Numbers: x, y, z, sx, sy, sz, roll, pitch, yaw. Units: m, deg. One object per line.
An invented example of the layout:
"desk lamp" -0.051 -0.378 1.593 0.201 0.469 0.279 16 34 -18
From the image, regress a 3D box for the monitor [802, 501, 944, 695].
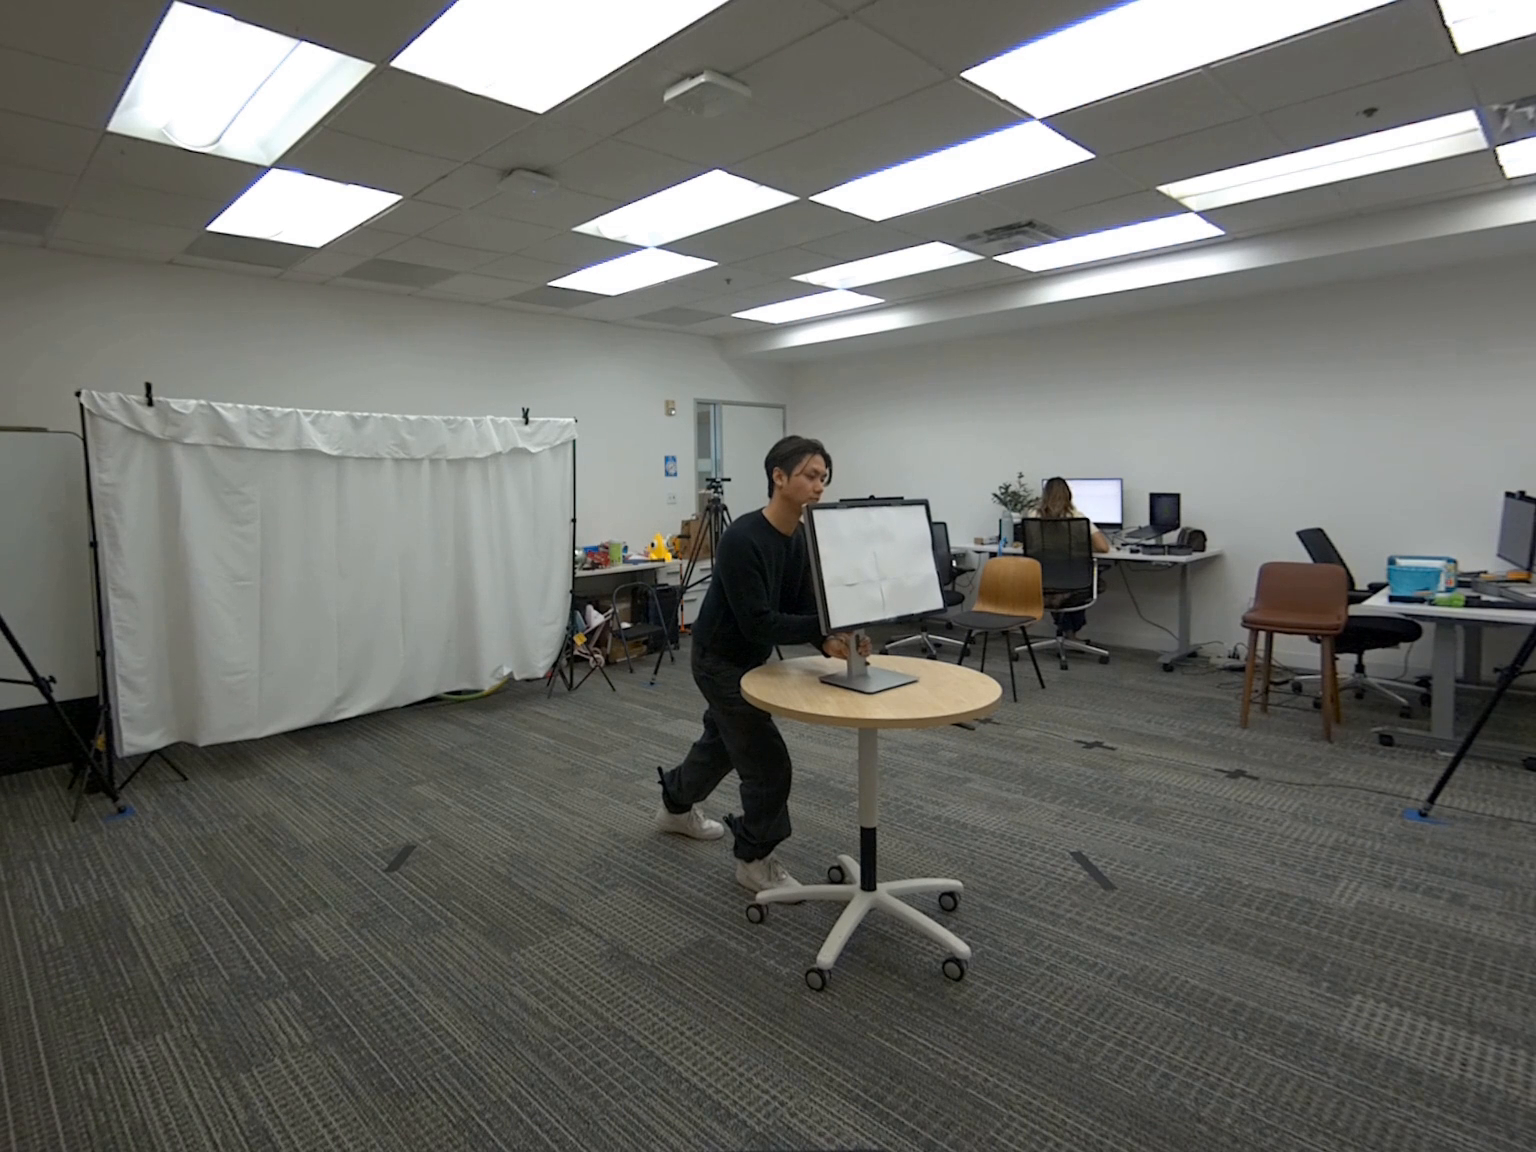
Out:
"monitor" 0.301 0.047 2.545 0.180 0.513 0.515 11 10 44
